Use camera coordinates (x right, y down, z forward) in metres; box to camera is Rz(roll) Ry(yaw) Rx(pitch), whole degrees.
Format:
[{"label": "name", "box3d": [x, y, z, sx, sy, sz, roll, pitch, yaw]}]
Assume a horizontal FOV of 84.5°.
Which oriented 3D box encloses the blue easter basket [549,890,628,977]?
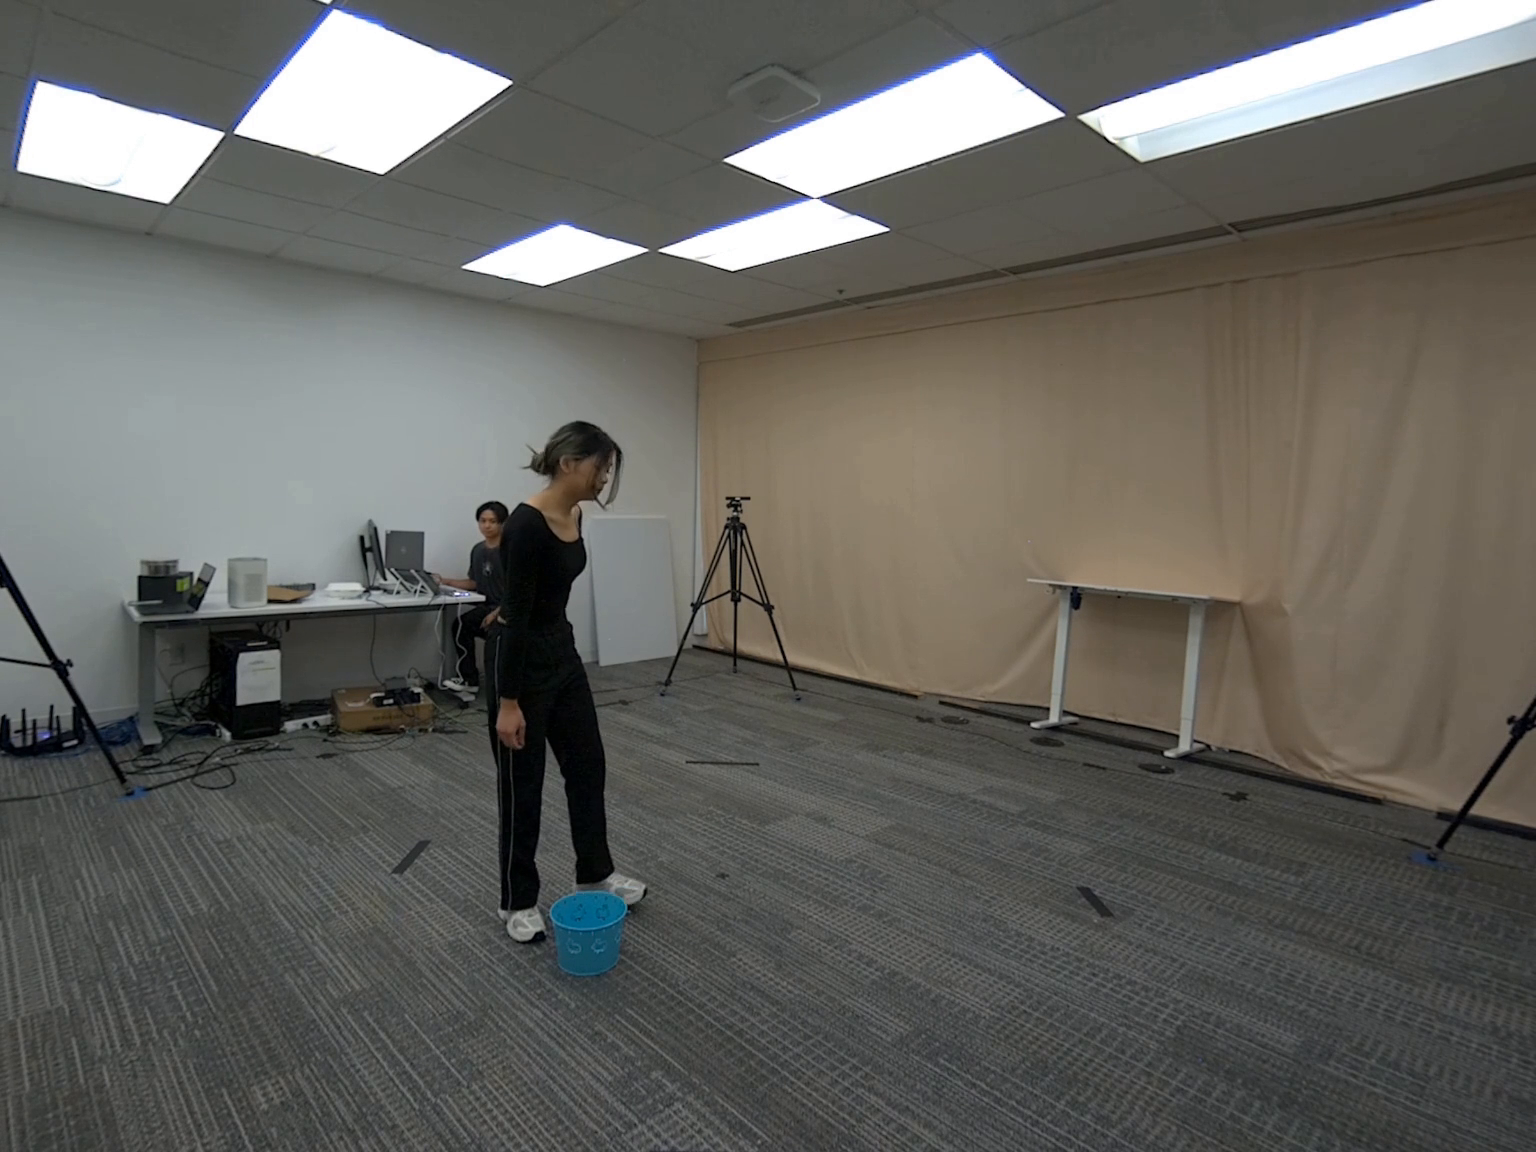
[{"label": "blue easter basket", "box3d": [-0.552, 1.072, 2.527, 0.243, 0.155, 0.245, 2, 6, -2]}]
